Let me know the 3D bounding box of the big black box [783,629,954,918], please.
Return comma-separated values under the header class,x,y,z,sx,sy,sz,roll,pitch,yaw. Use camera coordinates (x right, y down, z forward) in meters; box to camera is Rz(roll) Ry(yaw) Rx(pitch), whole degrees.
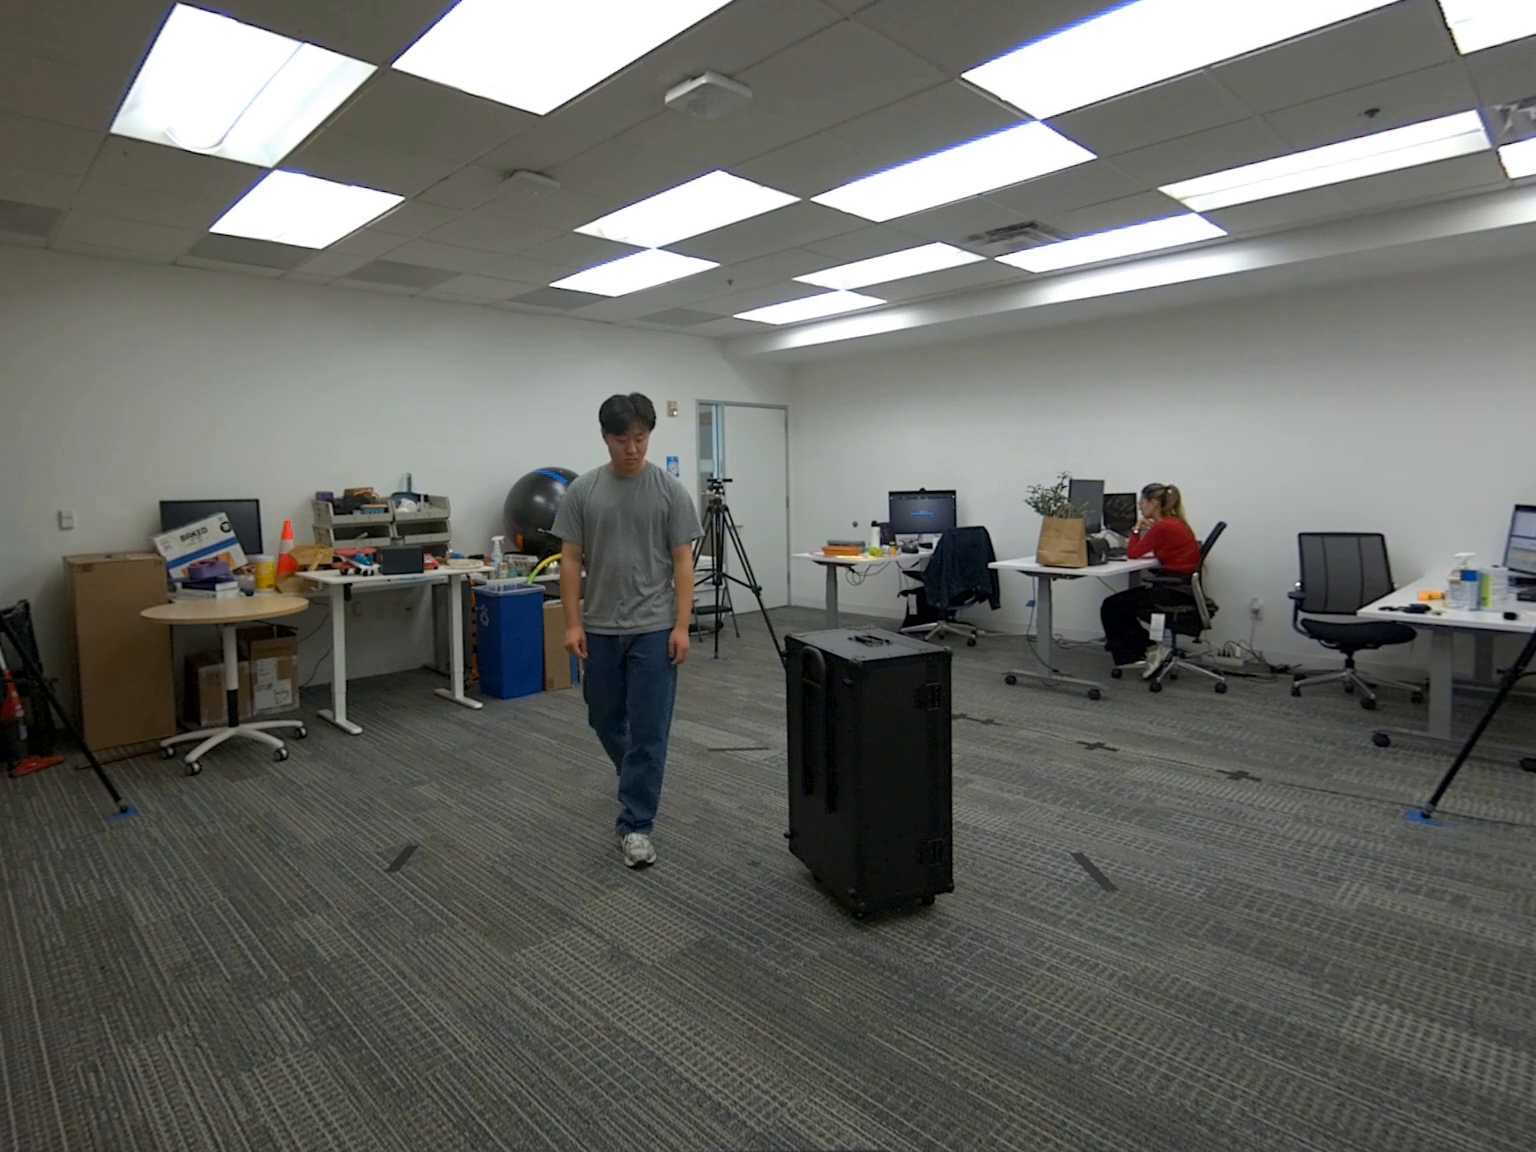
class,x,y,z,sx,sy,sz,roll,pitch,yaw
big black box,0.324,0.641,2.849,0.389,0.858,0.533,-4,5,-23
